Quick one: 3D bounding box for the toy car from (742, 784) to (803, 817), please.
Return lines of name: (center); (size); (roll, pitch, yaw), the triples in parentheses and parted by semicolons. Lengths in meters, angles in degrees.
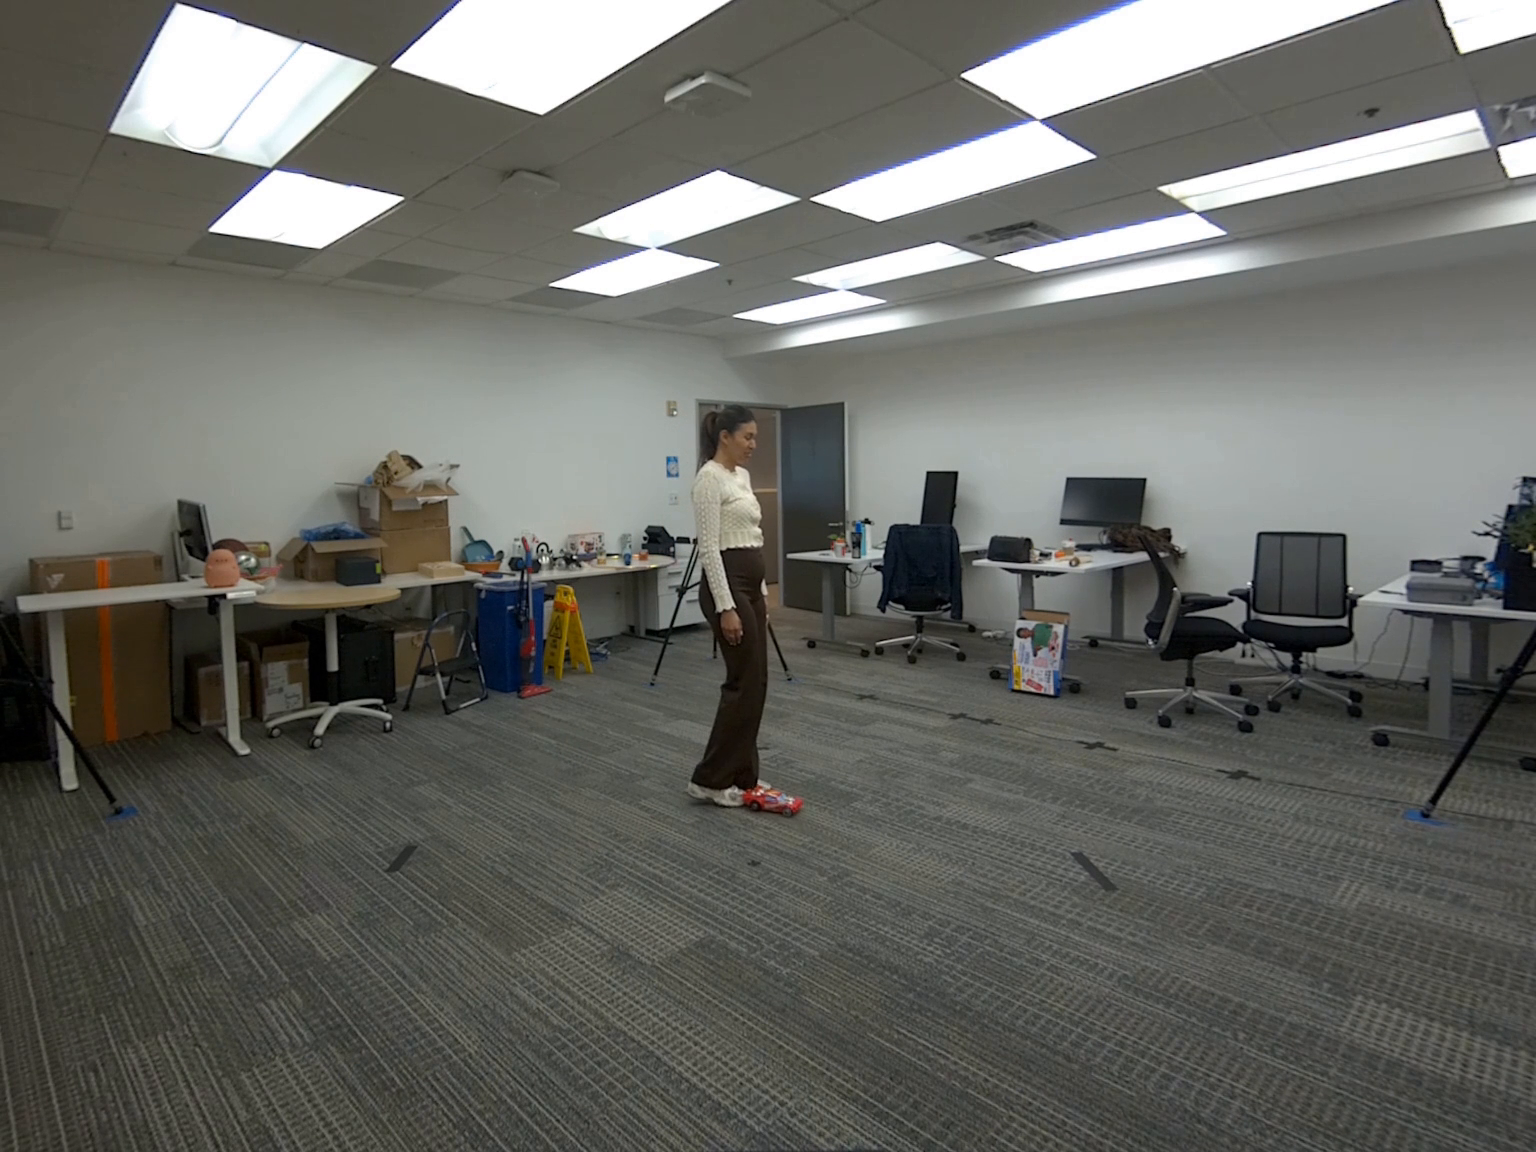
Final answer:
toy car: (0.020, 0.954, 3.608); (0.262, 0.082, 0.128); (14, 11, 26)
